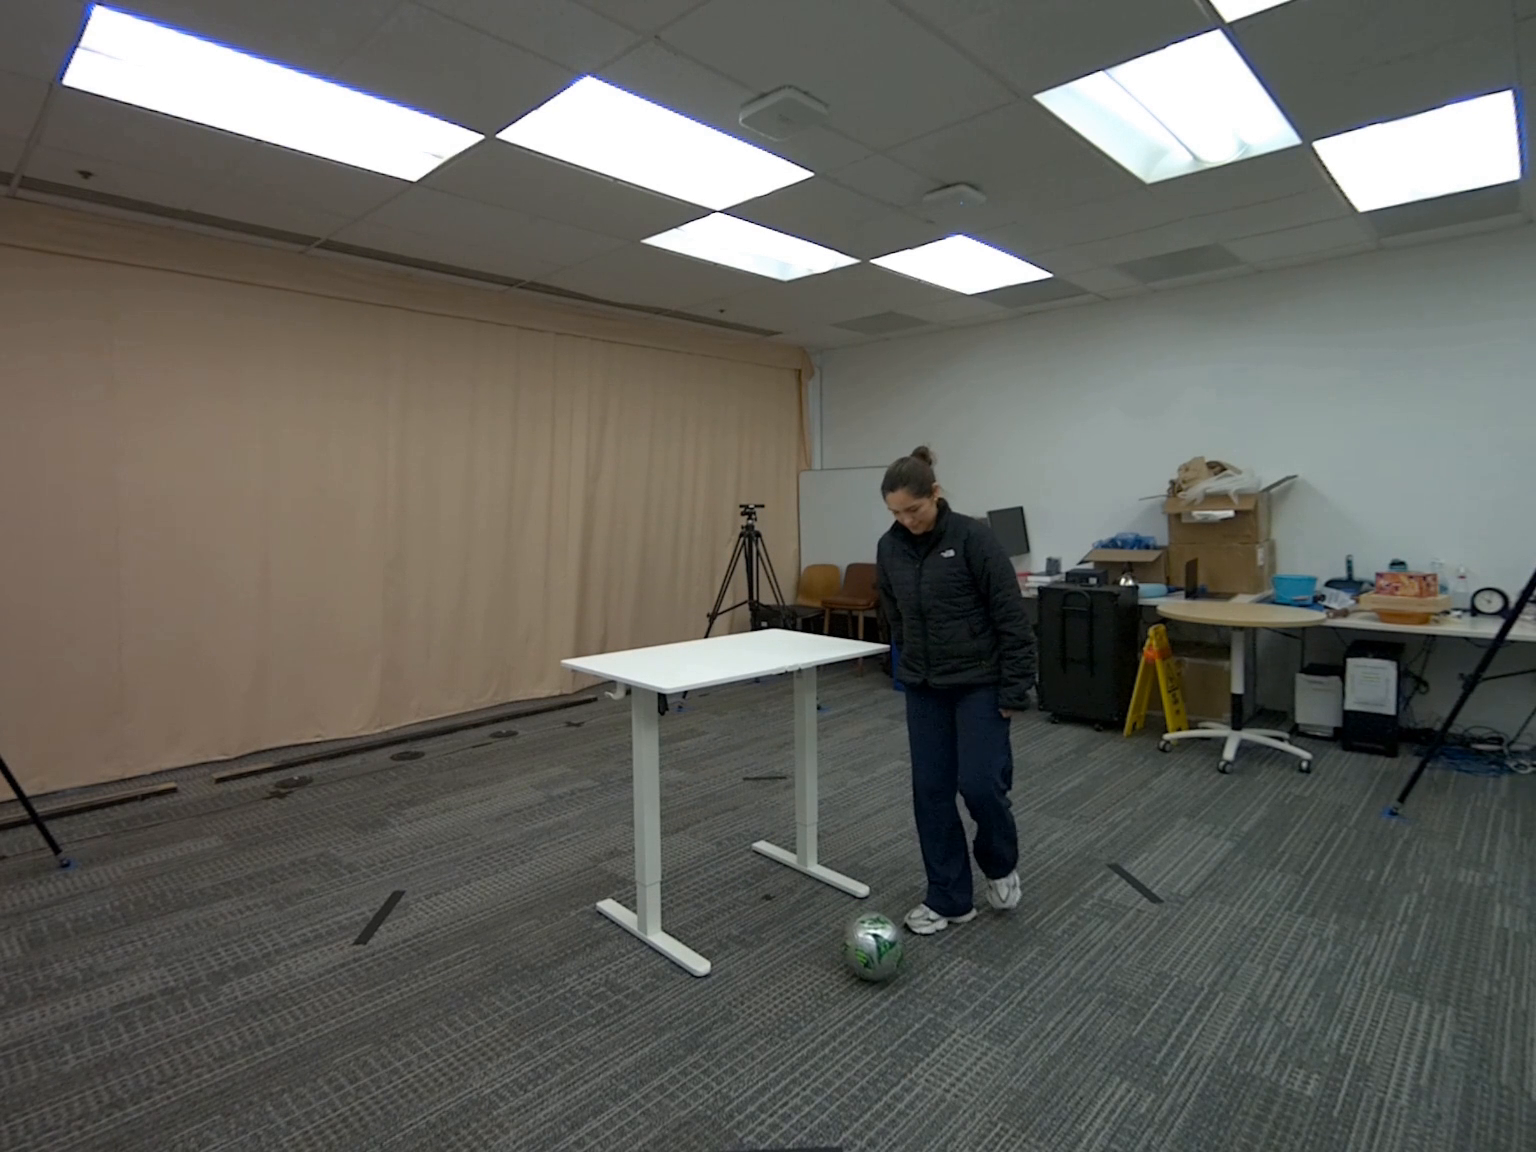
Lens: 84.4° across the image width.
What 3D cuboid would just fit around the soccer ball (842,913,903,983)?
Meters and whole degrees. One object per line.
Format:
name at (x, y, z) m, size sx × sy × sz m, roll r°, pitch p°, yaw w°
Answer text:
soccer ball at (0.315, 1.081, 2.467) m, size 0.187 × 0.187 × 0.188 m, roll -1°, pitch 4°, yaw -2°
